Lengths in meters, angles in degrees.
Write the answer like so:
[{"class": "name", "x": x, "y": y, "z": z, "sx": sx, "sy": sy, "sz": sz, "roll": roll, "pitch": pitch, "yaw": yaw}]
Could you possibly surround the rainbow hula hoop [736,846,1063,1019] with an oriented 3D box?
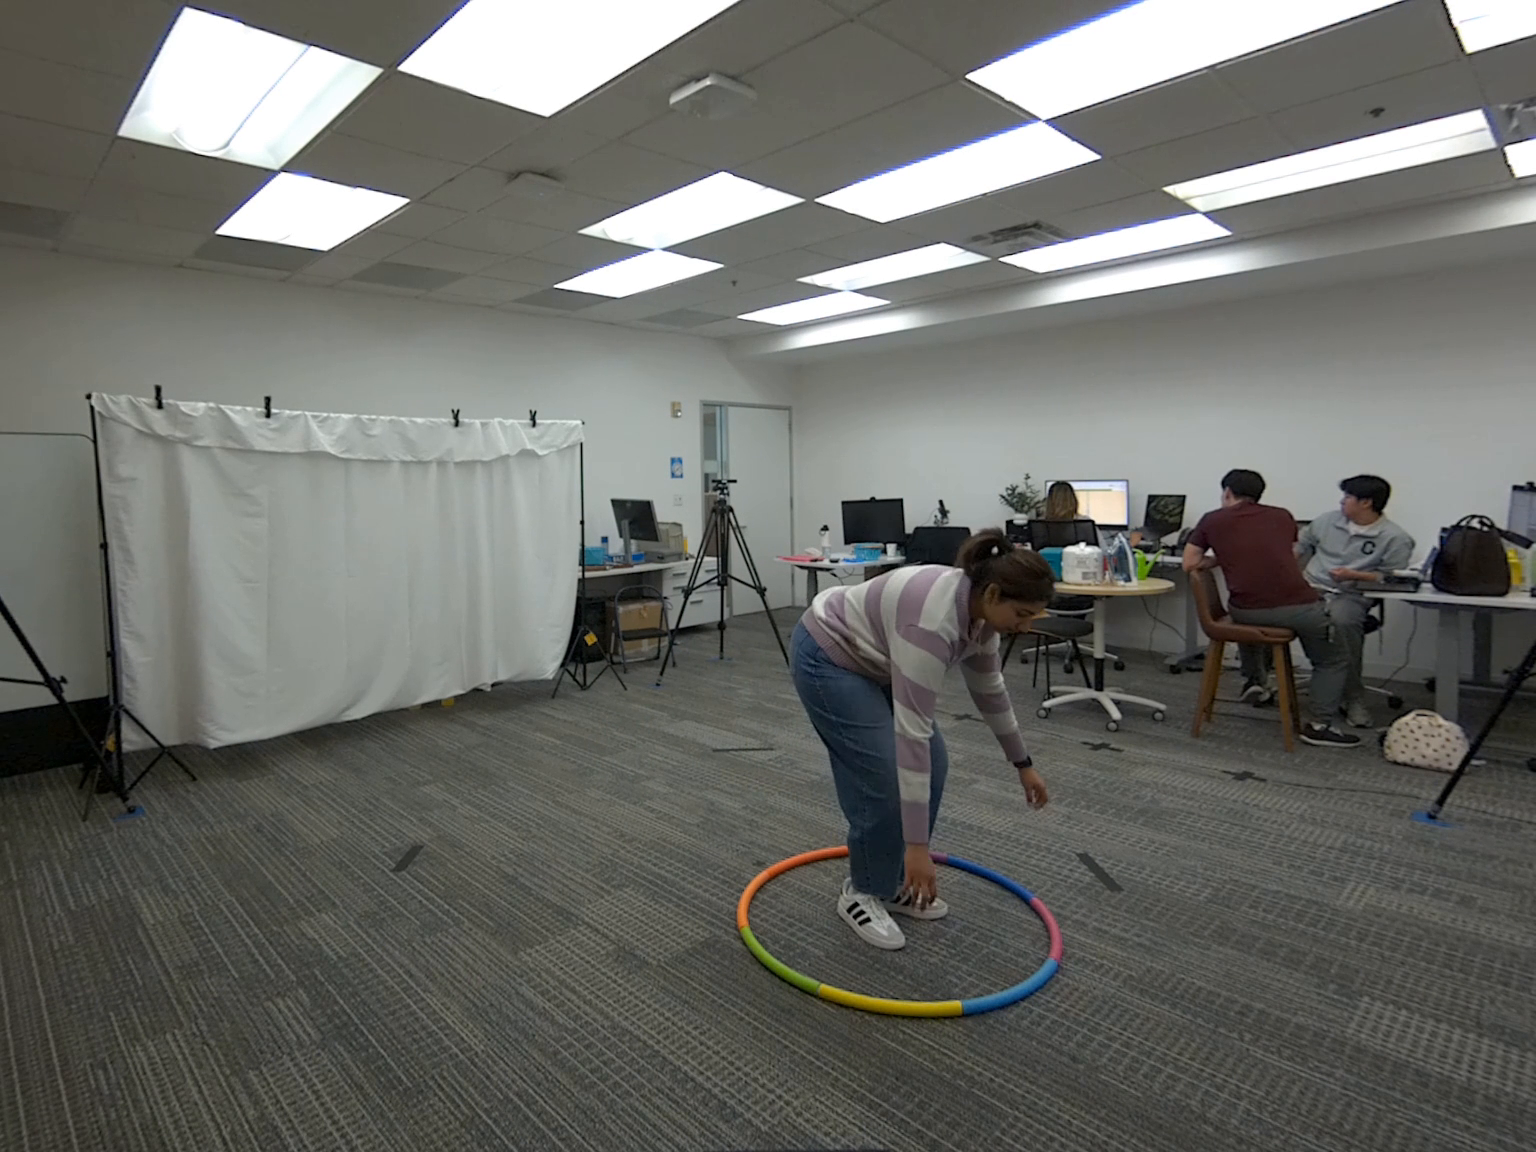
[{"class": "rainbow hula hoop", "x": 0.393, "y": 1.058, "z": 2.689, "sx": 0.978, "sy": 0.035, "sz": 0.984, "roll": -1, "pitch": 7, "yaw": -2}]
